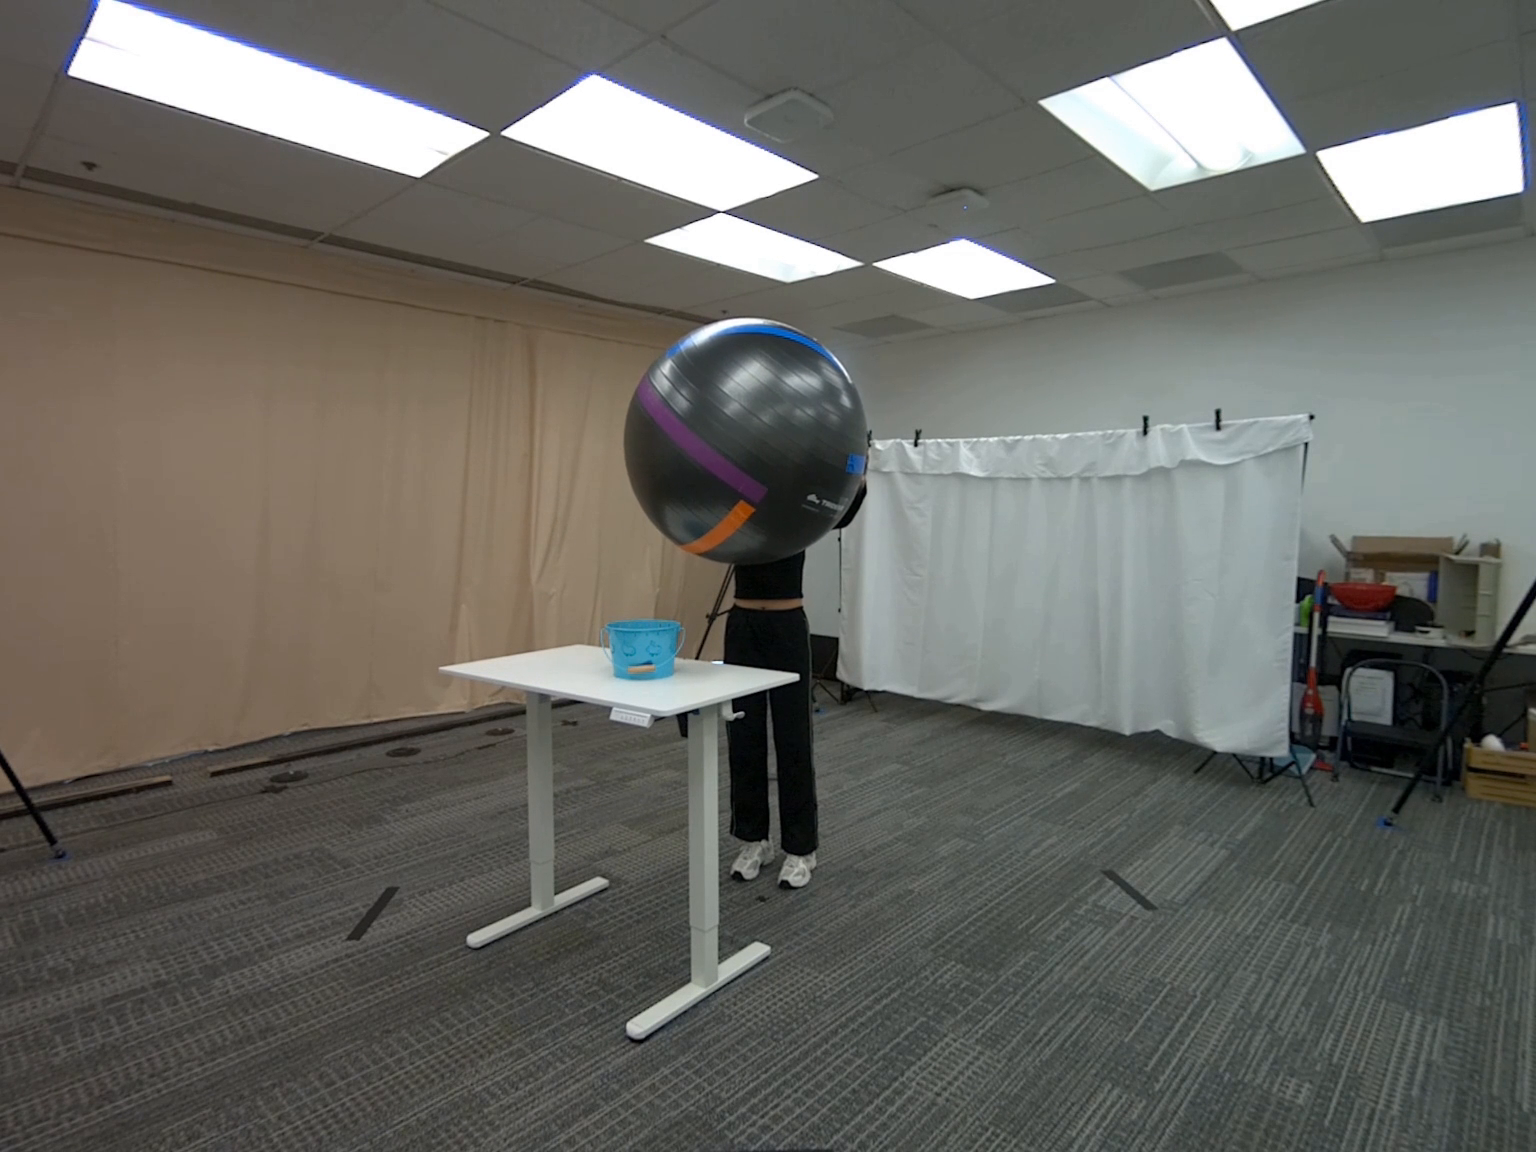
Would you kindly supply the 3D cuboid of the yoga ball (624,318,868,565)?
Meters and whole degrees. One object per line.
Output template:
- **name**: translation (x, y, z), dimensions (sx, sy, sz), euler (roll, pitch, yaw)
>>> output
- **yoga ball**: translation (-0.075, -0.405, 2.621), dimensions (0.757, 0.756, 0.761), euler (0, 4, -2)
